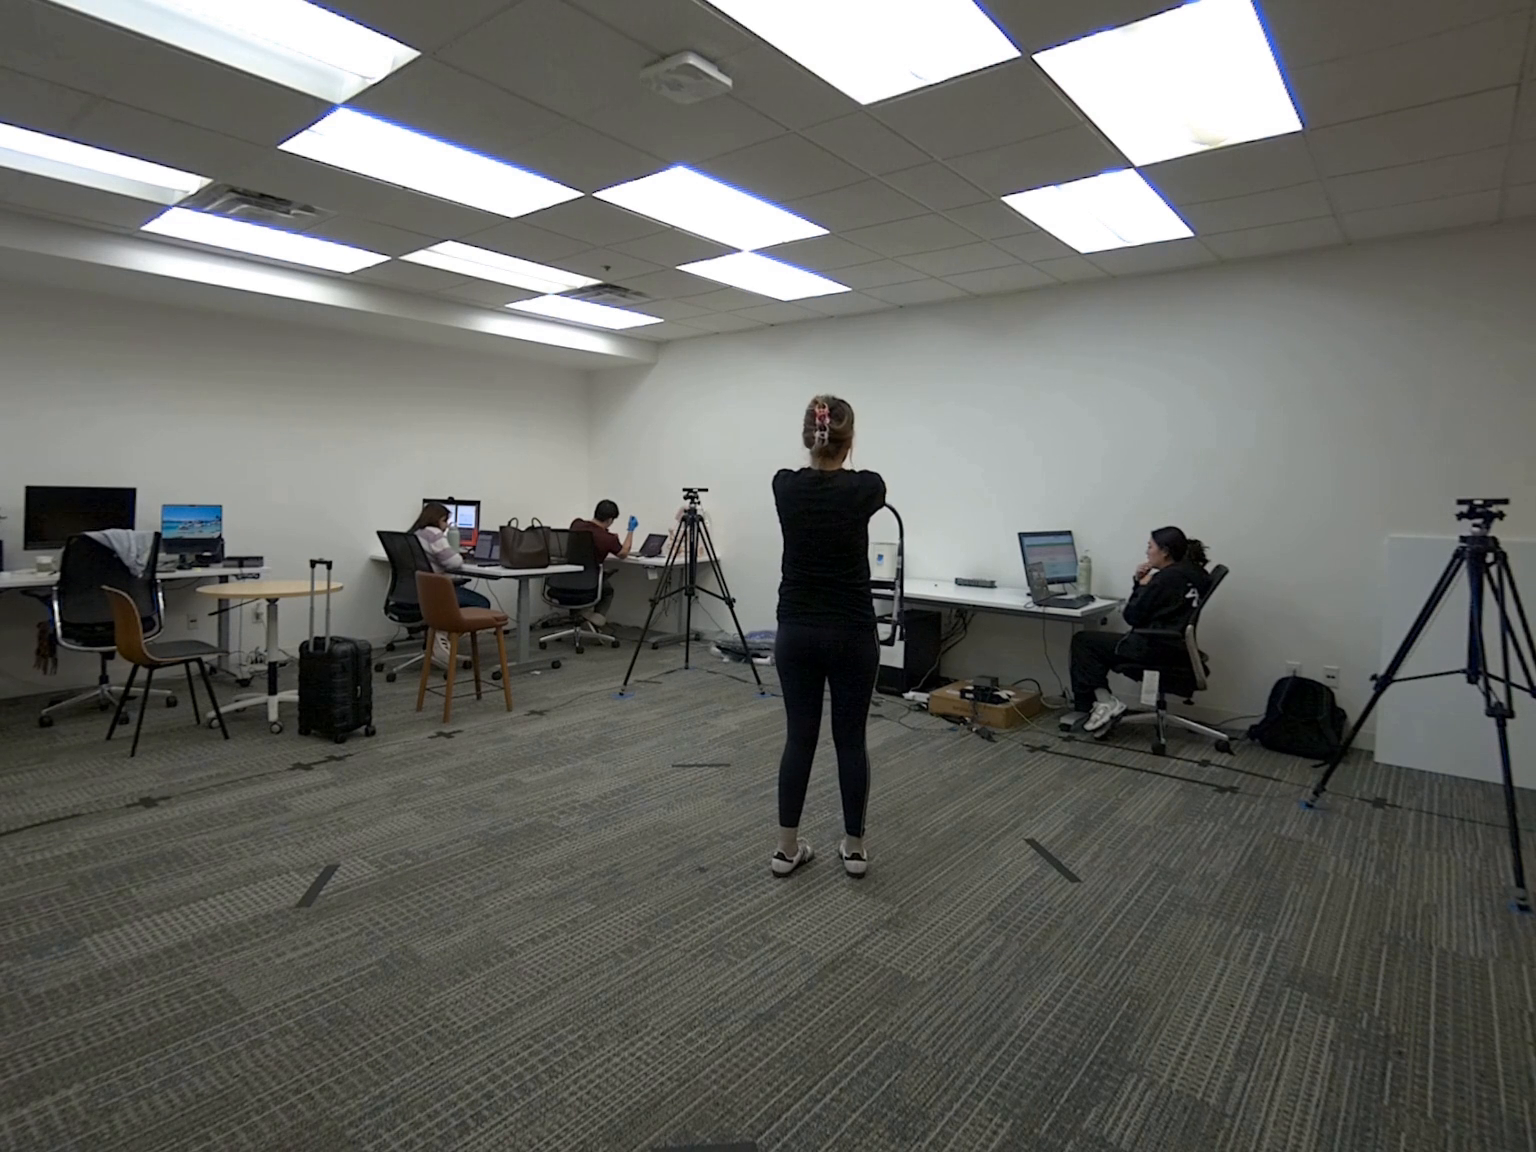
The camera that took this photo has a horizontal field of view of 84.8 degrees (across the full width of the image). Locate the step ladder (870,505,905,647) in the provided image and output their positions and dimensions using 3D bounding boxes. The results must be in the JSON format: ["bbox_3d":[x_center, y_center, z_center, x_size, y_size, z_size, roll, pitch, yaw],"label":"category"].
[{"bbox_3d":[0.363,-0.030,3.646,0.439,0.607,0.342,2,-1,17],"label":"step ladder"}]
